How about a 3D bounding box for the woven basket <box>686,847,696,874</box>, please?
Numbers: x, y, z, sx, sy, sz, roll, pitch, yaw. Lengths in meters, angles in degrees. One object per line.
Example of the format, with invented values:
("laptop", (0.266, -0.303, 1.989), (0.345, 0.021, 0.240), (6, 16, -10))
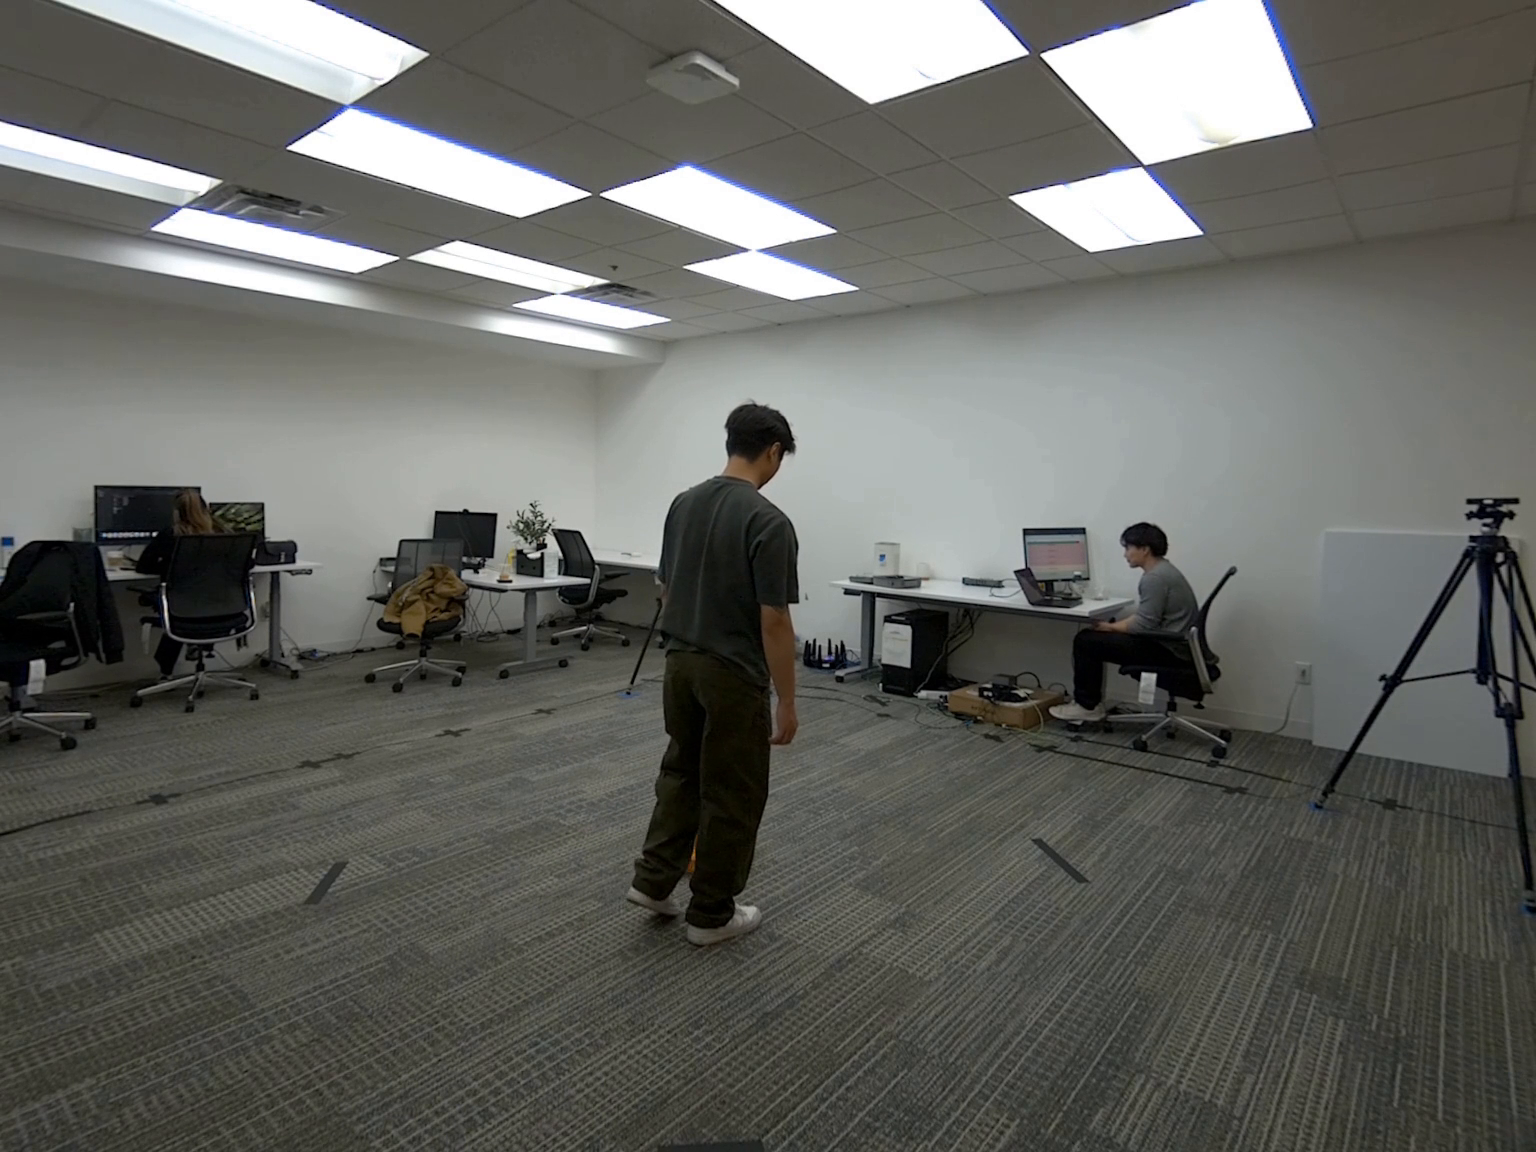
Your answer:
("woven basket", (-0.229, 1.012, 3.186), (0.259, 0.073, 0.343), (3, 6, 24))
